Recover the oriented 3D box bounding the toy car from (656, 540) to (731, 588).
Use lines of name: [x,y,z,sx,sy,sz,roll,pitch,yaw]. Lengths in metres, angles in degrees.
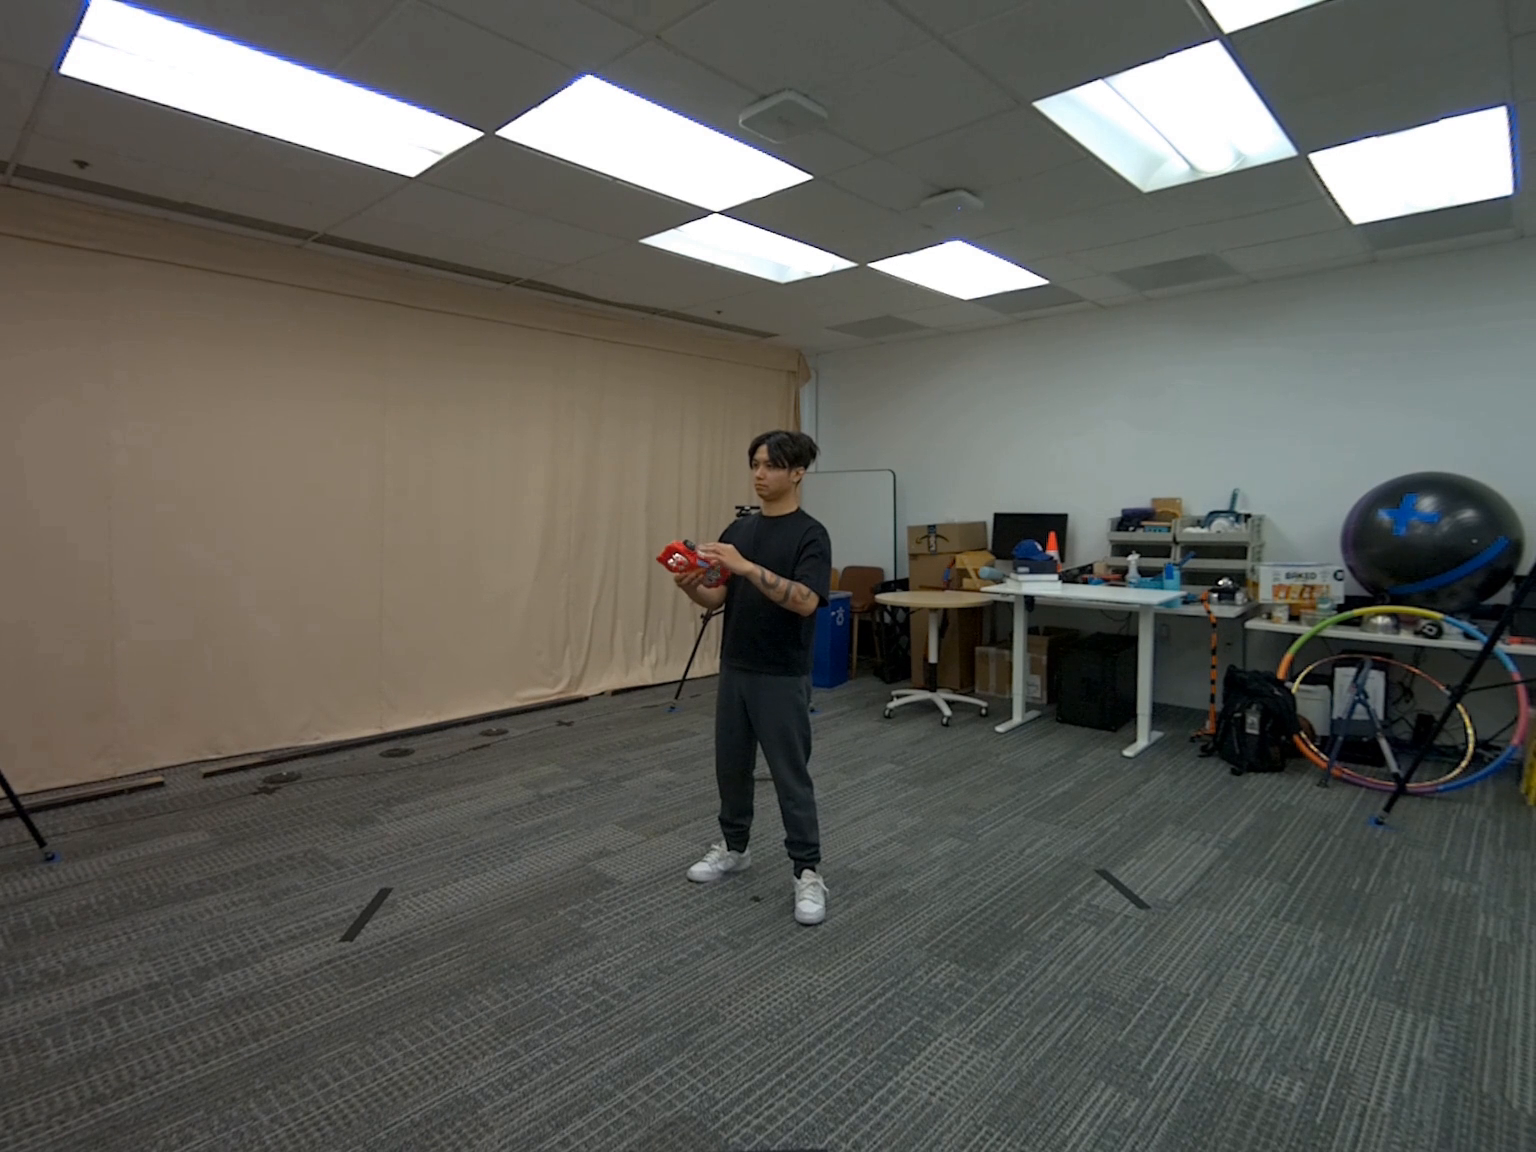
toy car: [-0.242,-0.041,2.757,0.246,0.085,0.131,19,-51,-36]
